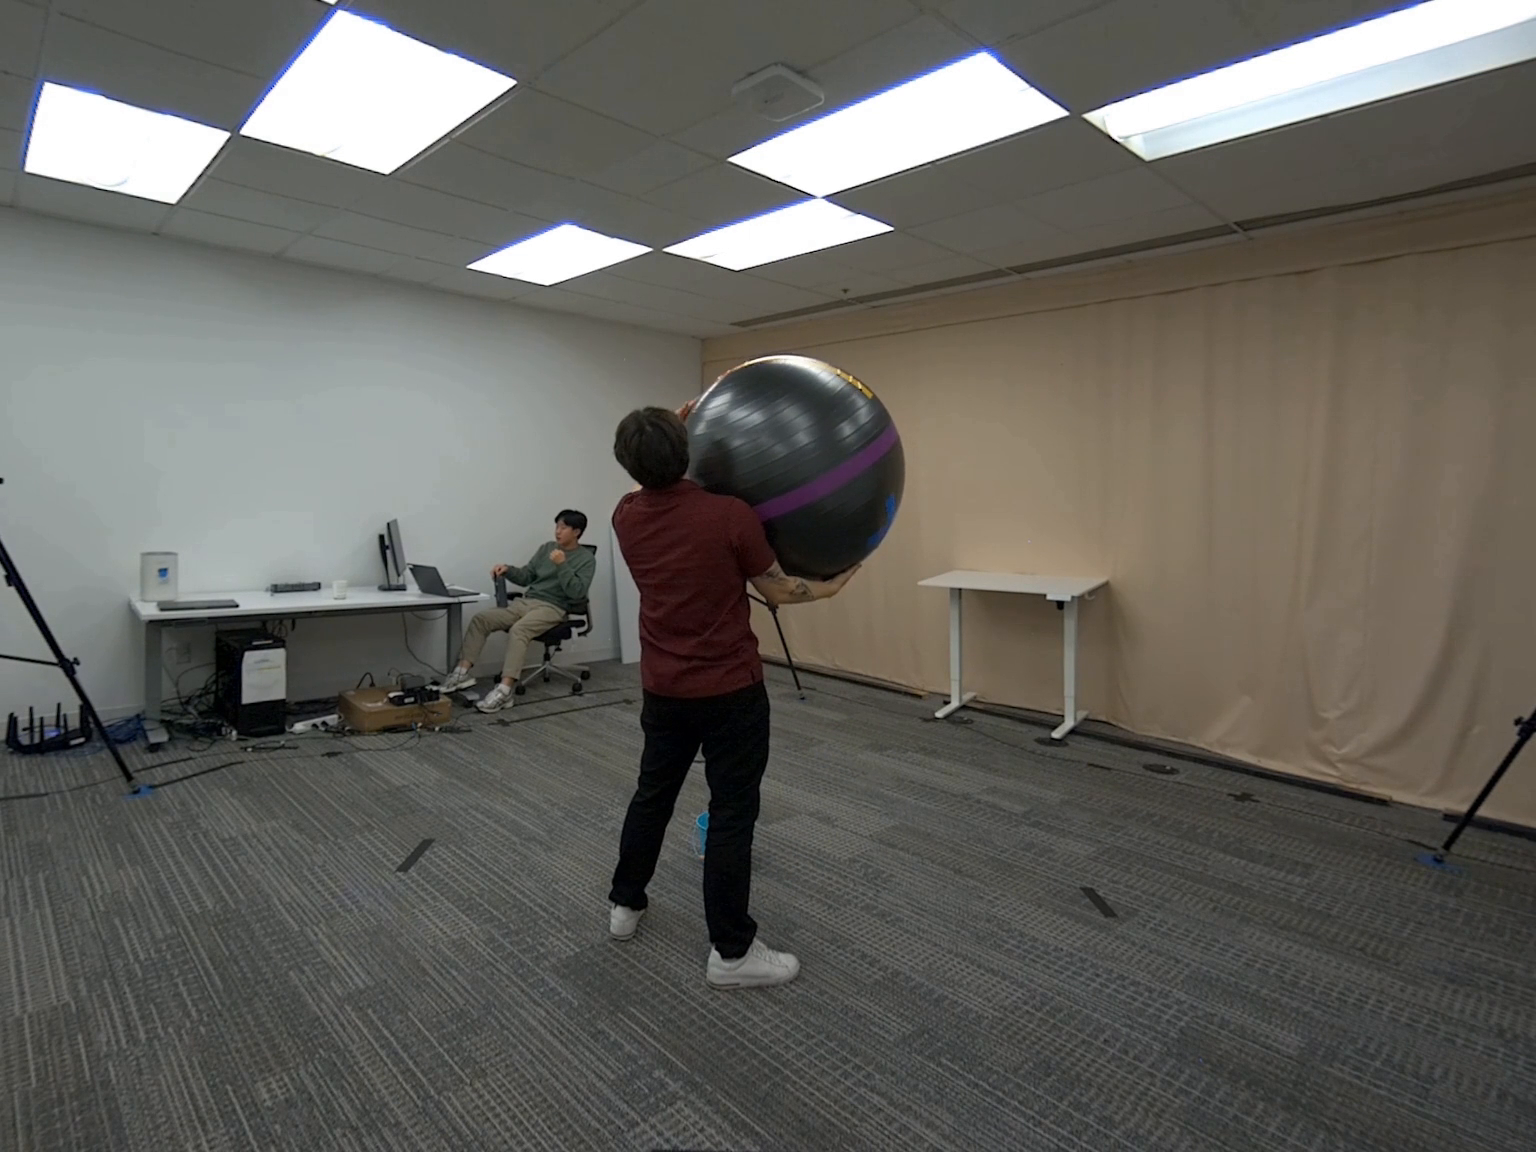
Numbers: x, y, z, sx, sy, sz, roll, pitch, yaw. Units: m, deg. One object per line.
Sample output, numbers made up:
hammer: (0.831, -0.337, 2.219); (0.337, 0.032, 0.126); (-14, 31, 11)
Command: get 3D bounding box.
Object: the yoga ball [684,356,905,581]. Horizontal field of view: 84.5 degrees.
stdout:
yoga ball: (0.067, -0.335, 2.770); (0.757, 0.756, 0.761); (1, 4, -1)
